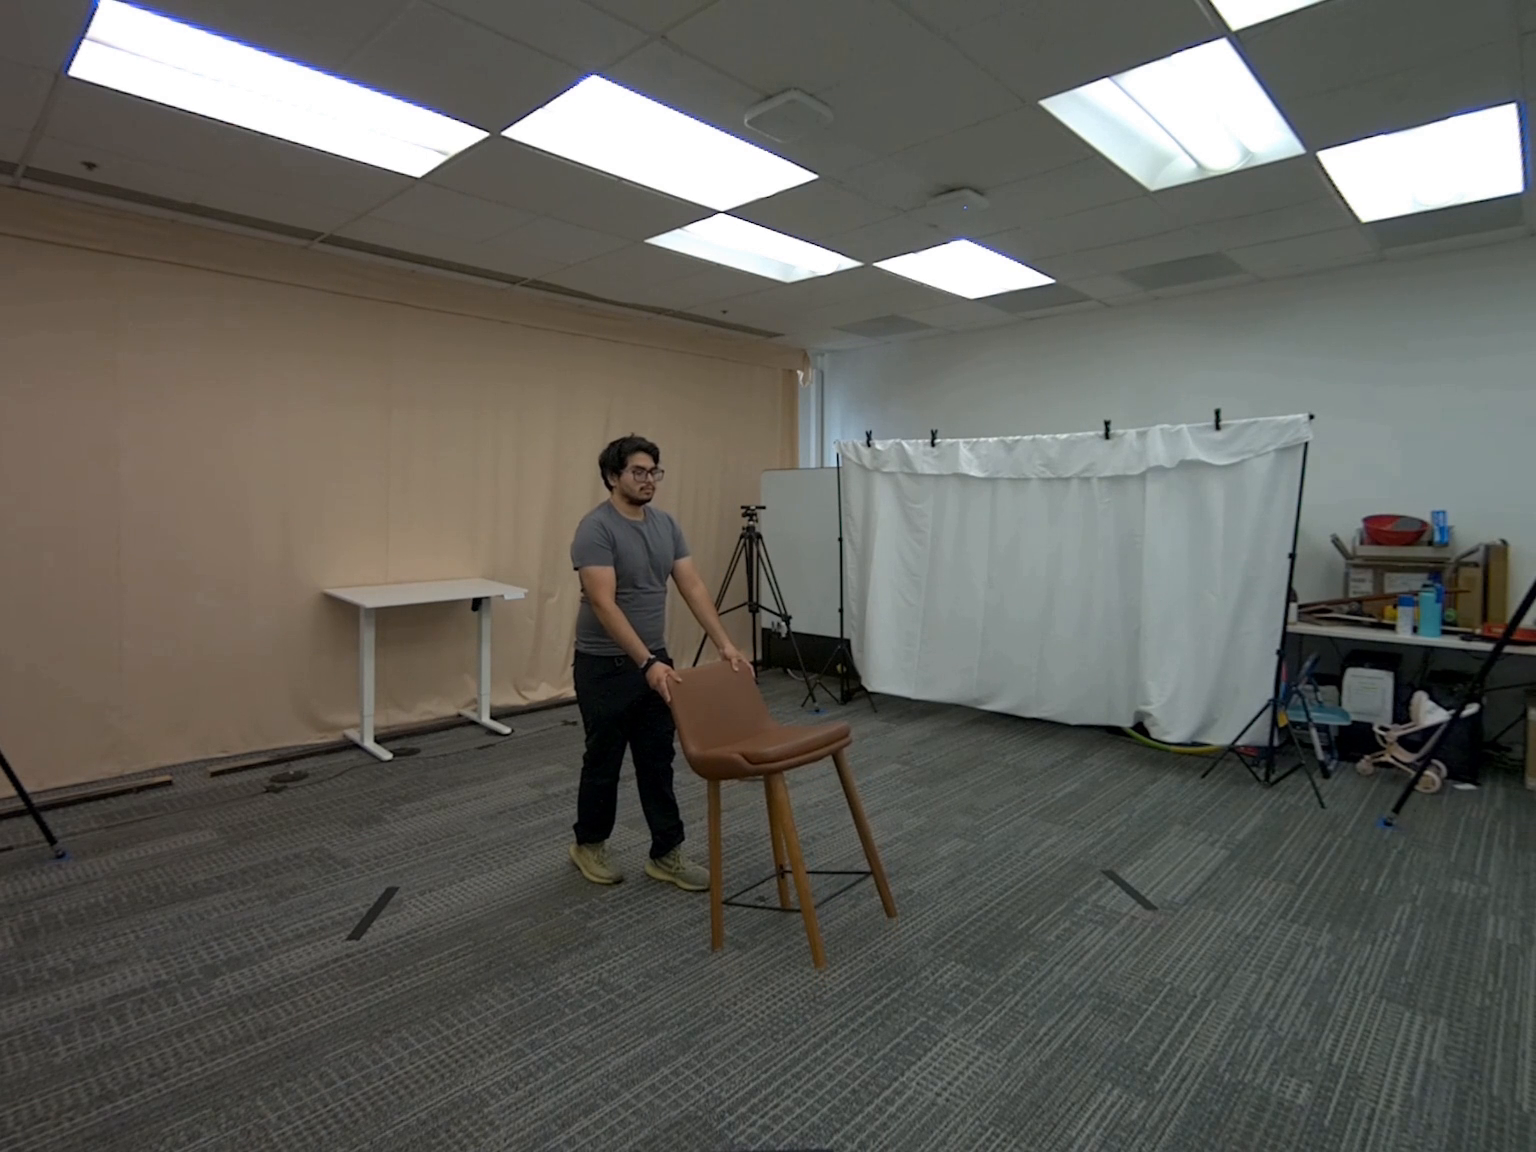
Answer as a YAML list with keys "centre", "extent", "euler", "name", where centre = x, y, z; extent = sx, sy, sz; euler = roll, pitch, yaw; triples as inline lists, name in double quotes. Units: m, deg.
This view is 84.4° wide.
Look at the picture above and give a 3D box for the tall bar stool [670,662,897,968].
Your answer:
- centre: [0.024, 0.692, 2.685]
  extent: [0.479, 0.896, 0.443]
  euler: [-19, -10, 41]
  name: "tall bar stool"
